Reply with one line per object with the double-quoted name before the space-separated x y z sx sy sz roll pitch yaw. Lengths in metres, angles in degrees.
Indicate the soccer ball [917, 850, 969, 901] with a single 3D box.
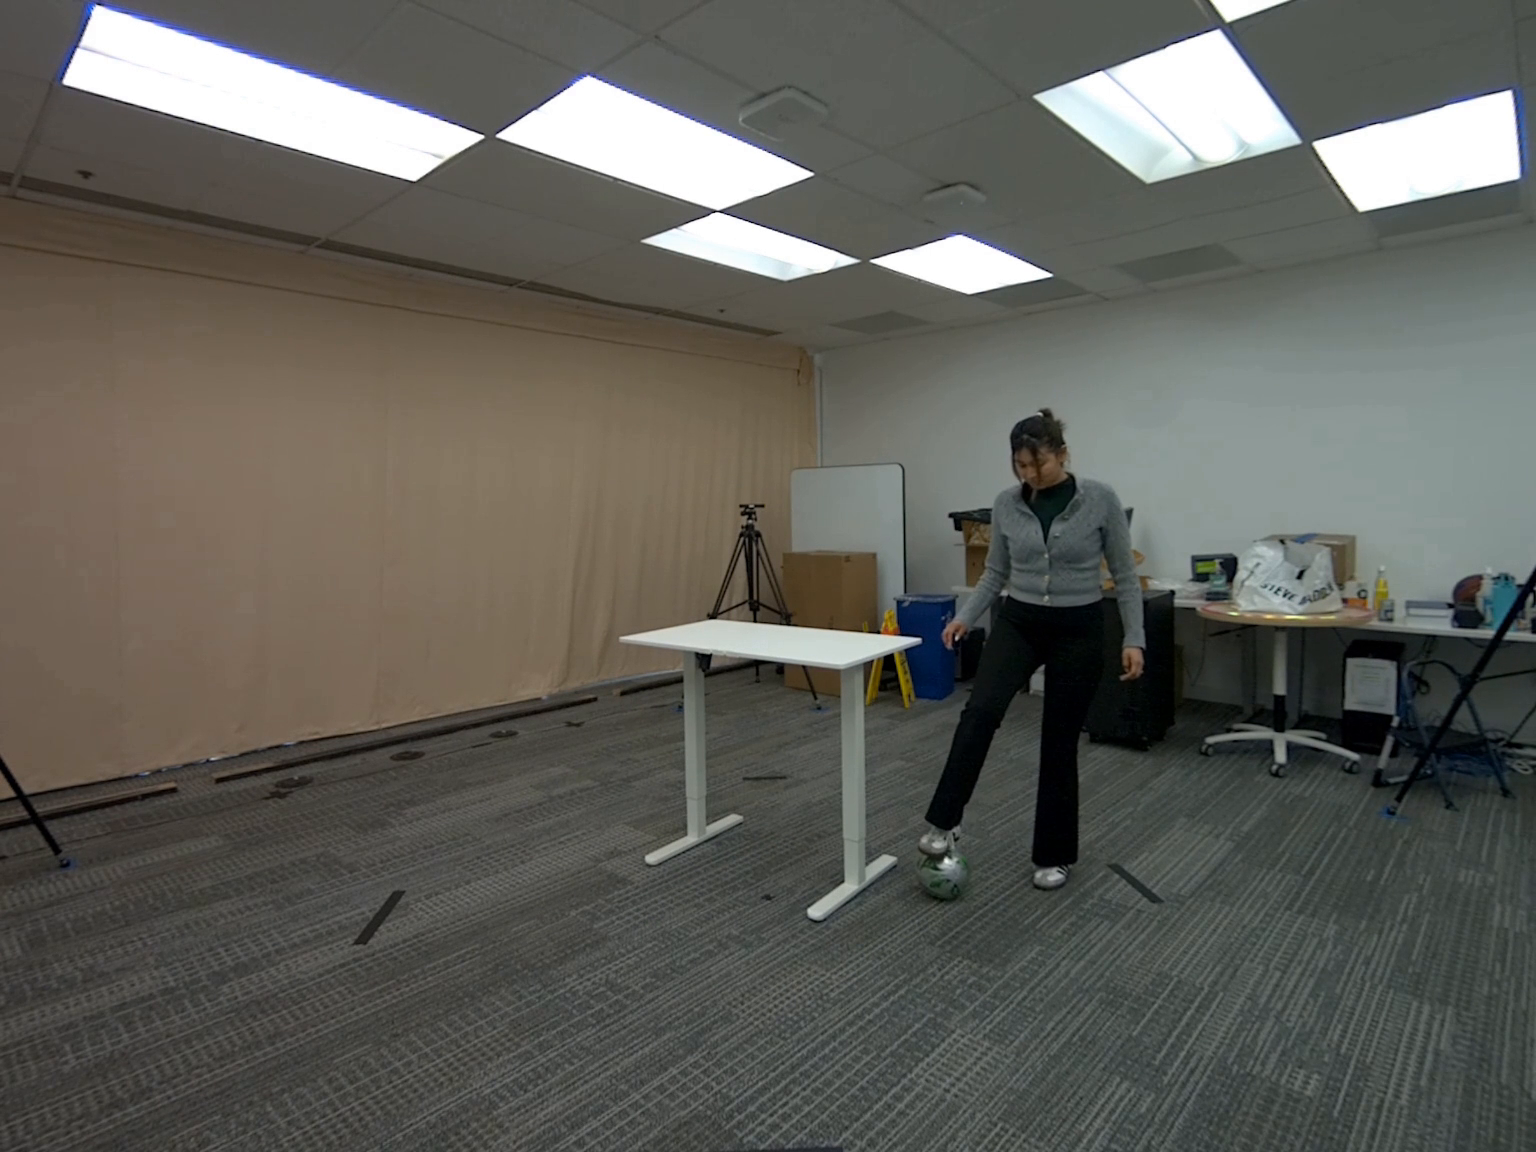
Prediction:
"soccer ball" 0.622 1.041 2.966 0.187 0.187 0.188 -1 4 -2
